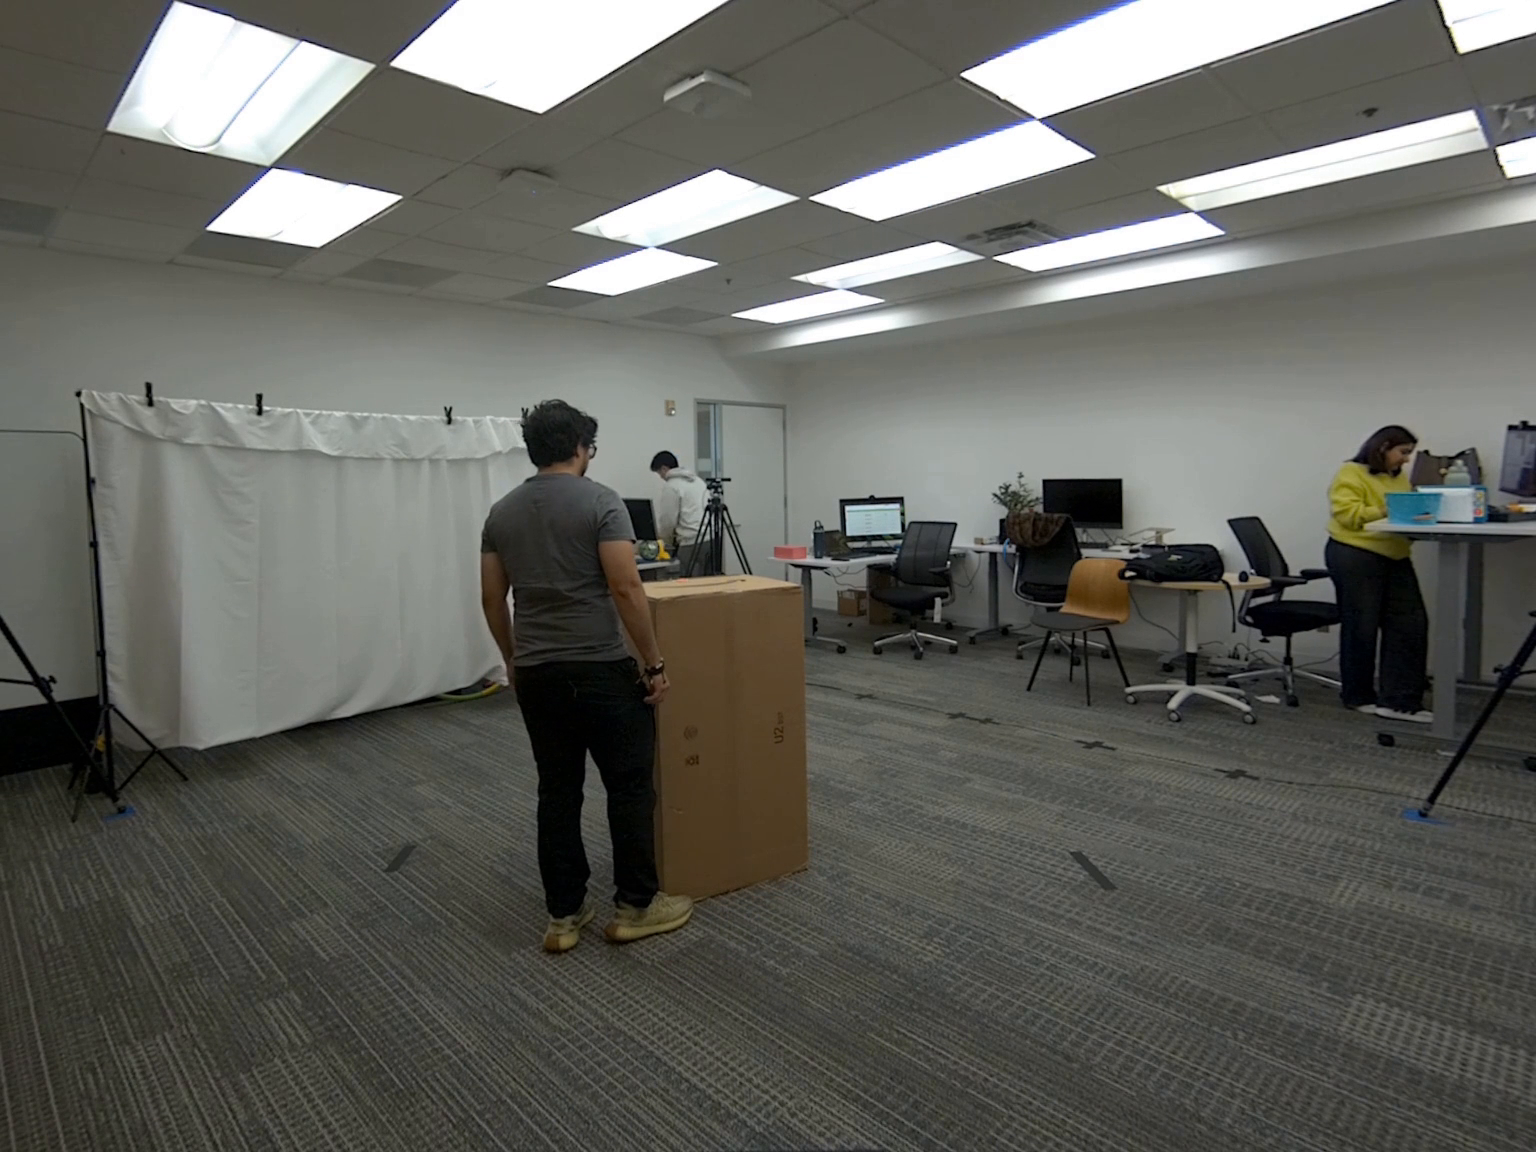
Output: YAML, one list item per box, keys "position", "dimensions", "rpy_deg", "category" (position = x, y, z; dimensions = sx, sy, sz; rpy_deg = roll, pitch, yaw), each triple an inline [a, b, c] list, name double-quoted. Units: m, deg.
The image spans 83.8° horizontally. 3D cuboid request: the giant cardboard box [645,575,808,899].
- position: [-0.215, 0.542, 3.062]
  dimensions: [0.570, 1.022, 0.460]
  rpy_deg: [-4, 6, -31]
  category: "giant cardboard box"
